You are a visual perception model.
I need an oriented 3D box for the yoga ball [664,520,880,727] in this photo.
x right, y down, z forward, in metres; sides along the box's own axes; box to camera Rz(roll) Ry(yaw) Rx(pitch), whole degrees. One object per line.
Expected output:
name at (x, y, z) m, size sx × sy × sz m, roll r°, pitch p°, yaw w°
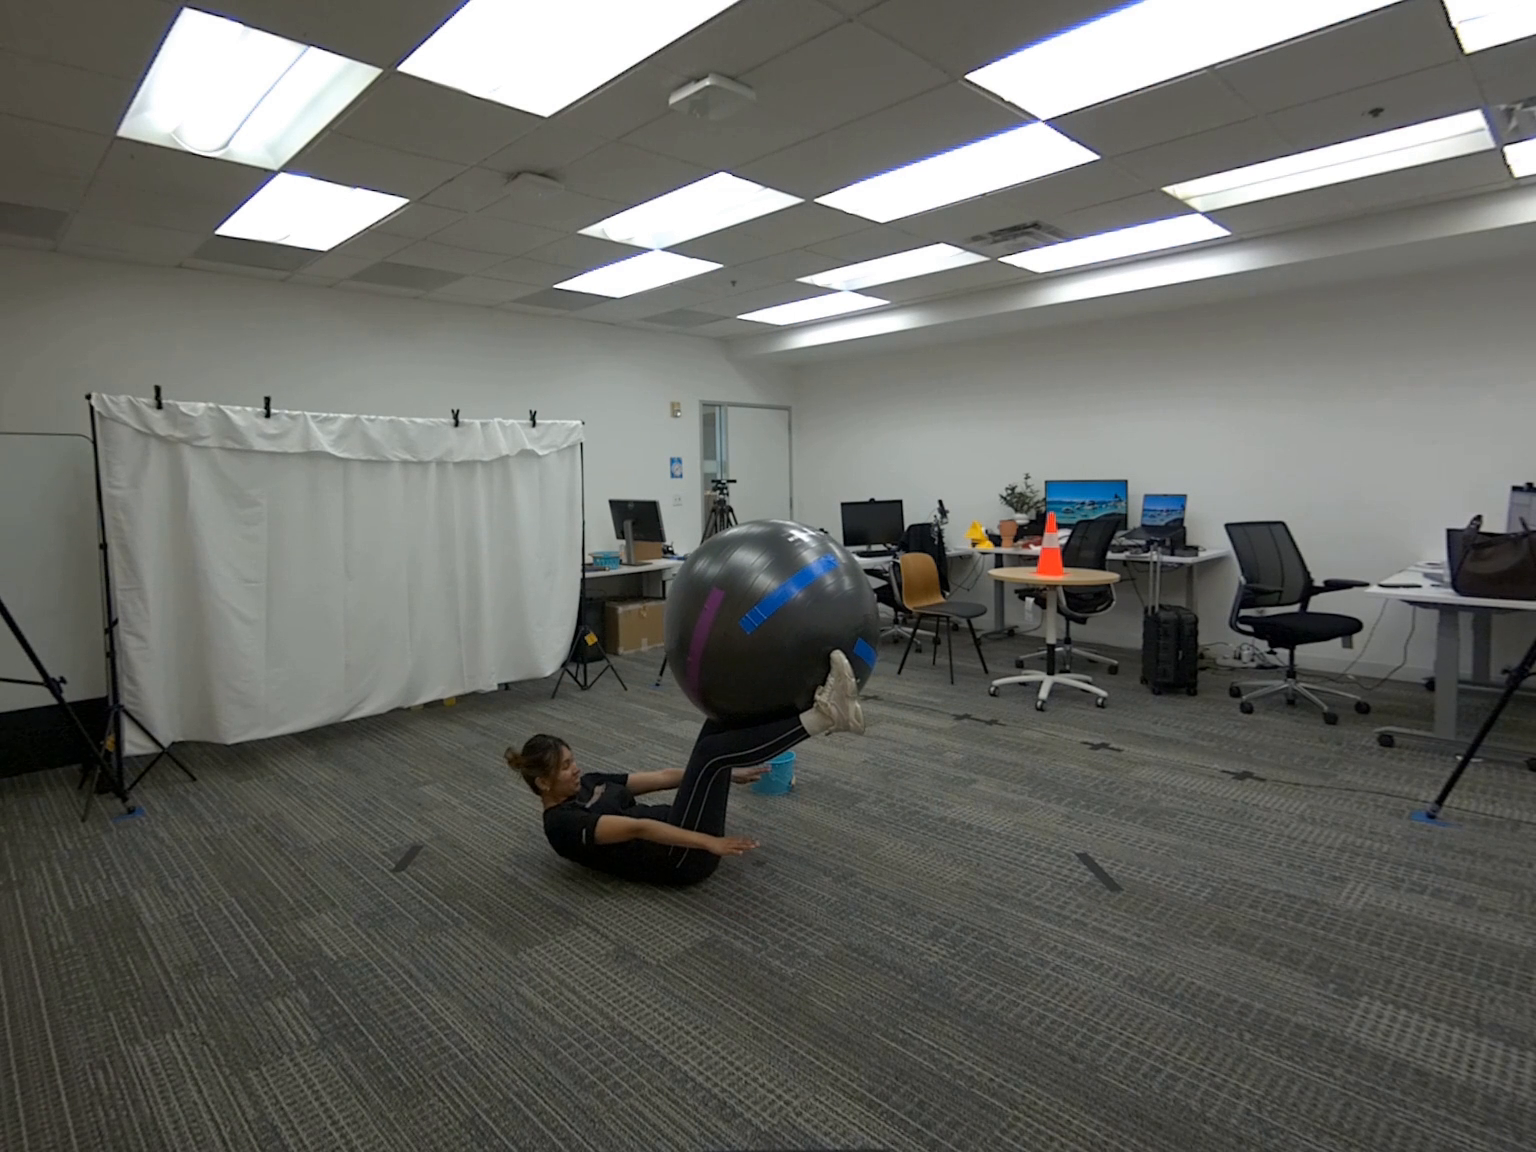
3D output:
yoga ball at (0.003, 0.185, 2.988) m, size 0.757 × 0.755 × 0.762 m, roll -1°, pitch 5°, yaw -2°
